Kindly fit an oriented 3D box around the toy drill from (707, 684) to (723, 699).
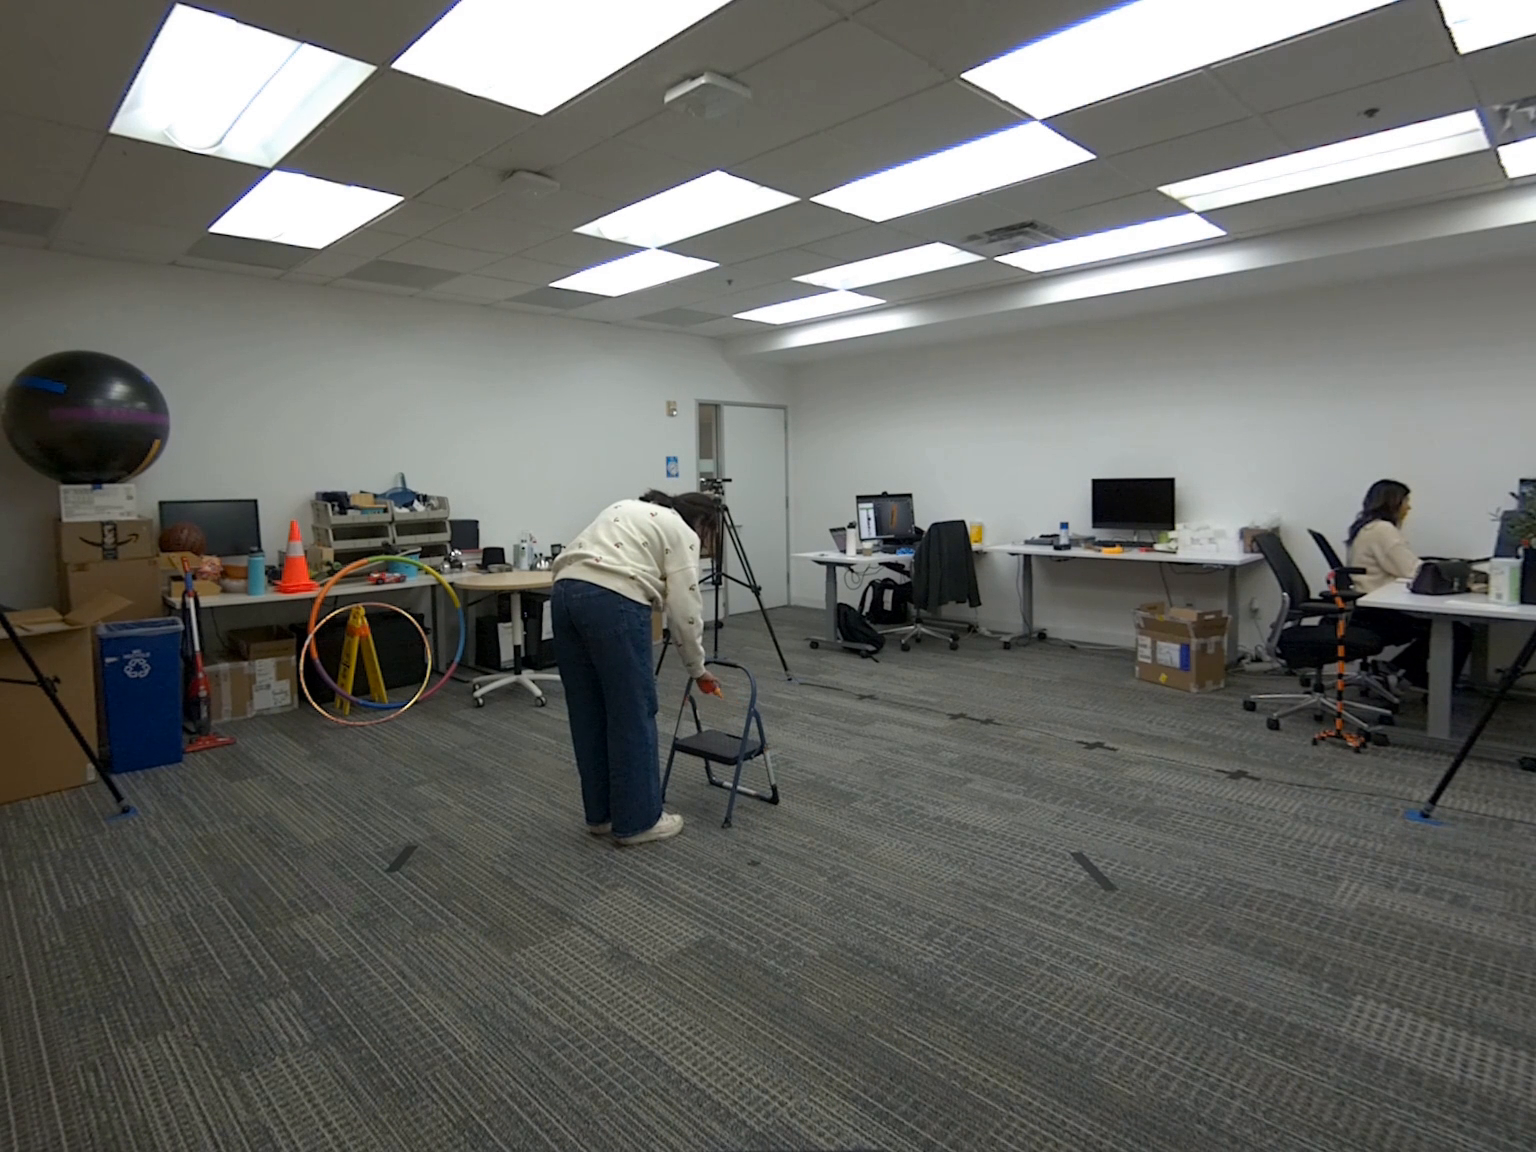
[{"bbox_3d":[-0.229,0.466,3.546,0.061,0.167,0.148,-42,11,-1],"label":"toy drill"}]
